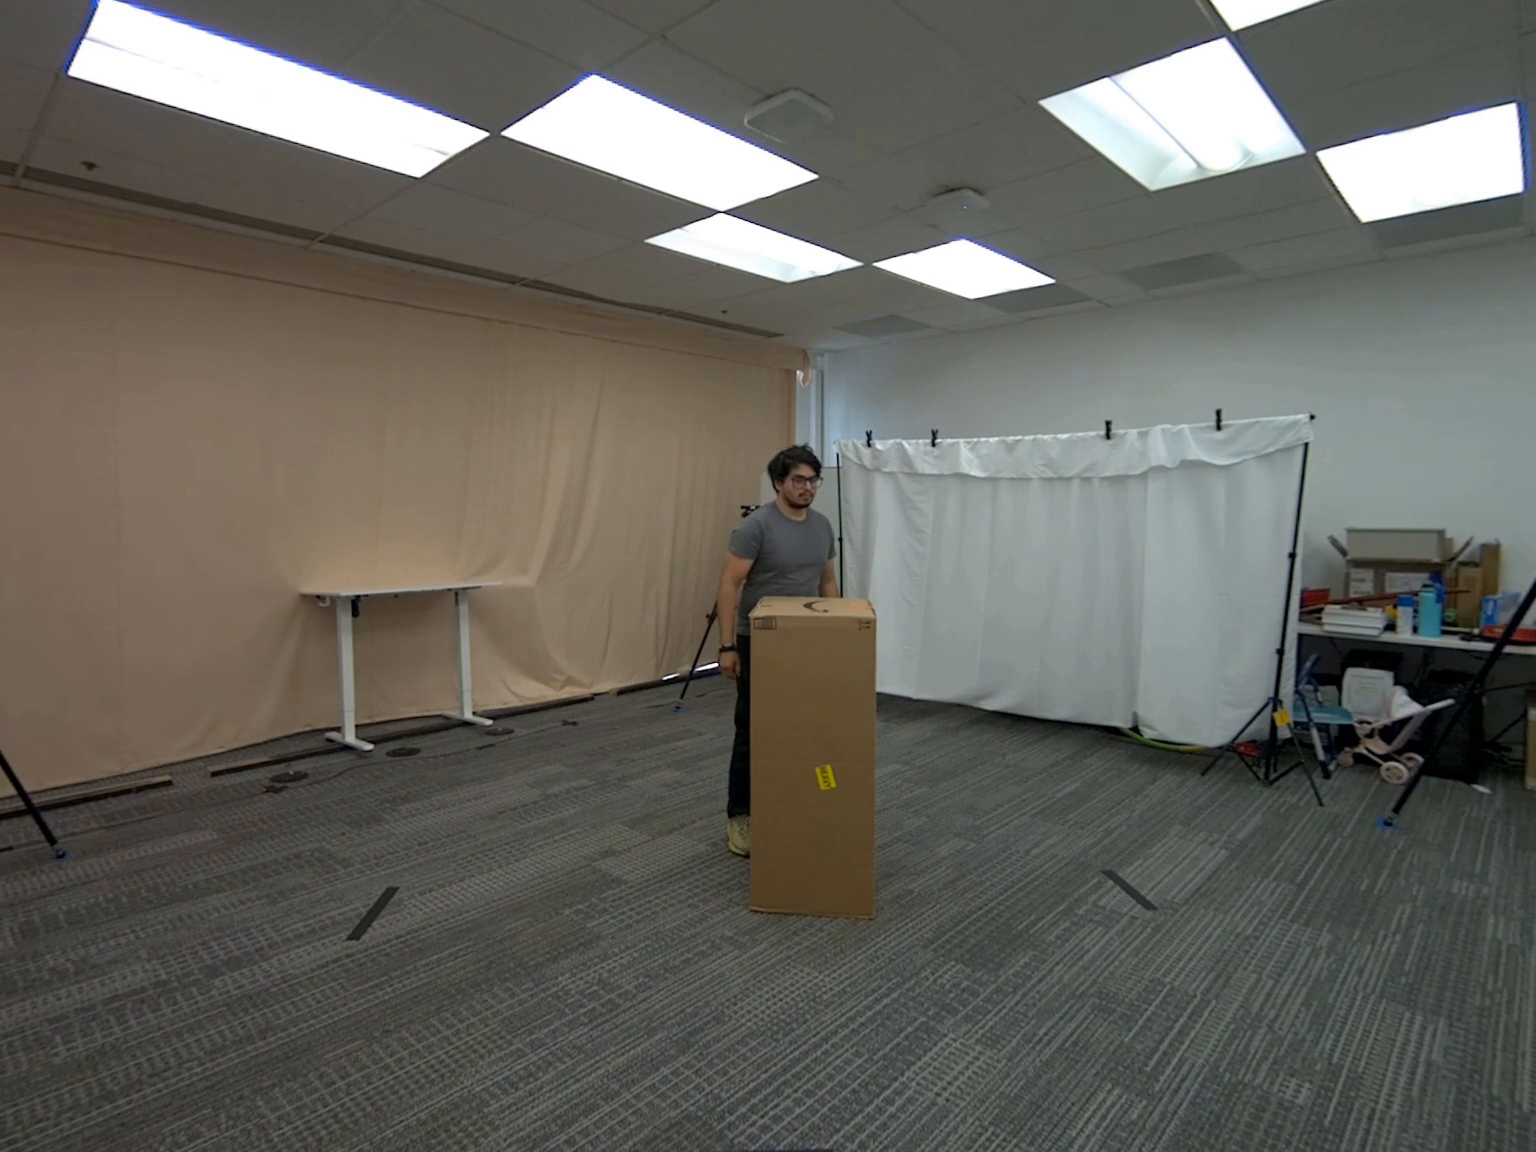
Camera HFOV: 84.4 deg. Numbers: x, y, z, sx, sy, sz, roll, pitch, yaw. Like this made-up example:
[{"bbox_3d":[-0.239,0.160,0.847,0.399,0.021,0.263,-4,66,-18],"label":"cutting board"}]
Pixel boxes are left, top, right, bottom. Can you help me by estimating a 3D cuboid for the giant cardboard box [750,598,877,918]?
[{"bbox_3d":[0.176,0.622,3.118,0.450,1.025,0.581,0,3,5],"label":"giant cardboard box"}]
